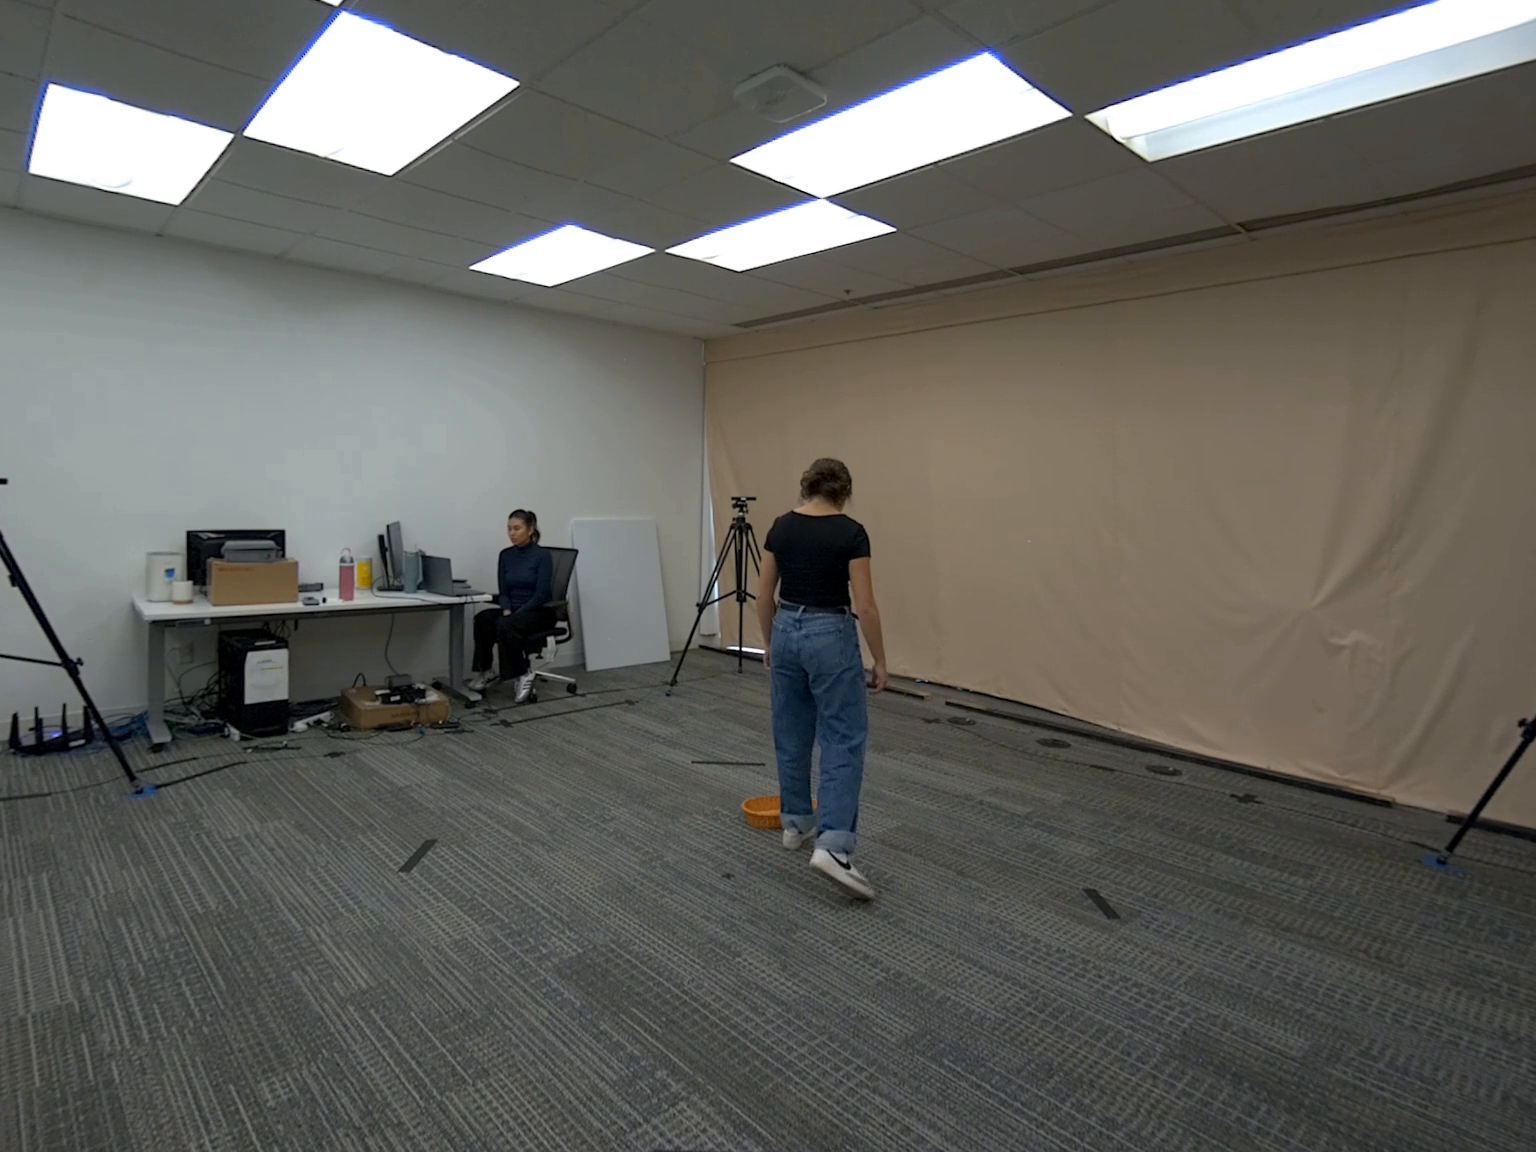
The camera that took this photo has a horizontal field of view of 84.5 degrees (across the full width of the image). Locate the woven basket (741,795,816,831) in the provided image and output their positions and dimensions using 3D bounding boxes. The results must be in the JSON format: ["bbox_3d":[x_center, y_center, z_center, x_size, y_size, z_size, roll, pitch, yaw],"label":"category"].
[{"bbox_3d":[0.041,1.022,3.664,0.345,0.073,0.256,-1,3,-20],"label":"woven basket"}]
